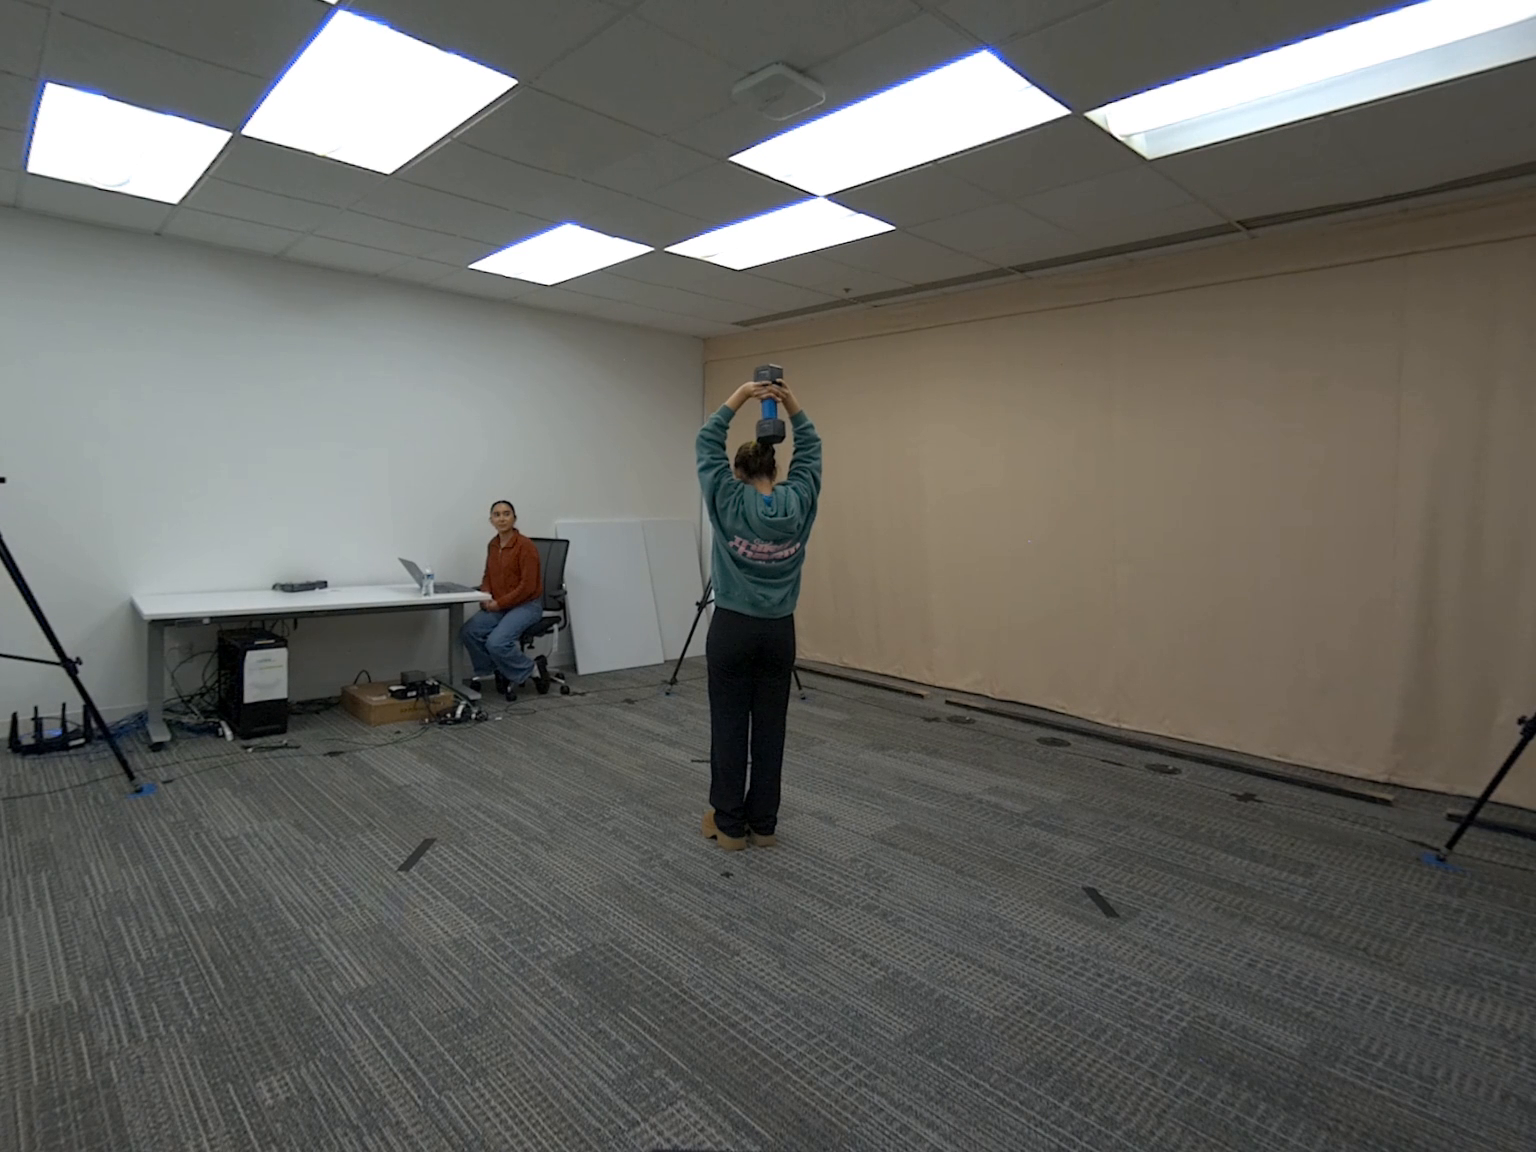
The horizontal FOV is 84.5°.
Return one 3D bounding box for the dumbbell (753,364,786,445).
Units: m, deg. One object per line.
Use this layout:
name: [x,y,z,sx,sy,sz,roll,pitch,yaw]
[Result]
dumbbell: [-0.009,-0.656,3.227,0.108,0.296,0.123,0,-11,-9]
